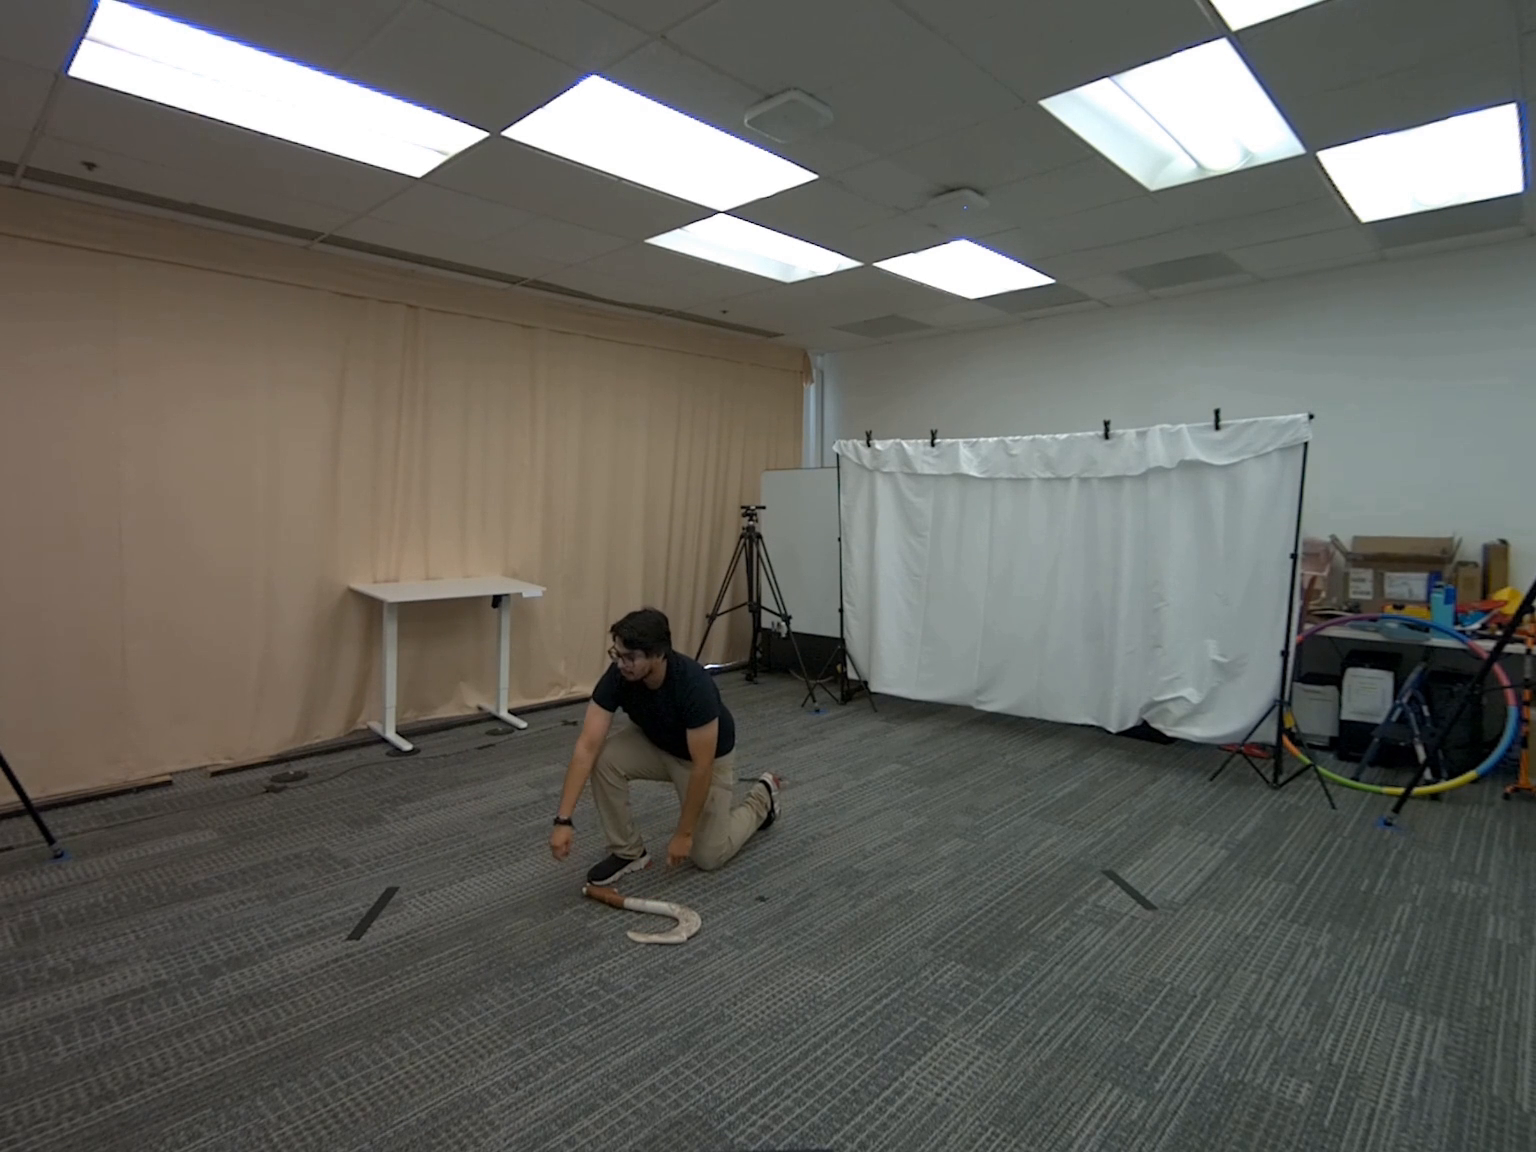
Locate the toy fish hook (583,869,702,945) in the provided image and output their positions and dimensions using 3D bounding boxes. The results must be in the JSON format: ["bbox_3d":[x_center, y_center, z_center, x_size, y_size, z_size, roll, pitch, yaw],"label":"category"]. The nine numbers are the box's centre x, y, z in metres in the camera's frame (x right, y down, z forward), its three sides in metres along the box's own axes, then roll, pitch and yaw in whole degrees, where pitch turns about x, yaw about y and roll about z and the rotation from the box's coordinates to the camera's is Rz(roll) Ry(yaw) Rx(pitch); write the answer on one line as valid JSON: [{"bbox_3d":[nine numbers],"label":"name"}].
[{"bbox_3d":[-0.466,1.135,2.843,0.522,0.048,0.218,2,4,32],"label":"toy fish hook"}]
